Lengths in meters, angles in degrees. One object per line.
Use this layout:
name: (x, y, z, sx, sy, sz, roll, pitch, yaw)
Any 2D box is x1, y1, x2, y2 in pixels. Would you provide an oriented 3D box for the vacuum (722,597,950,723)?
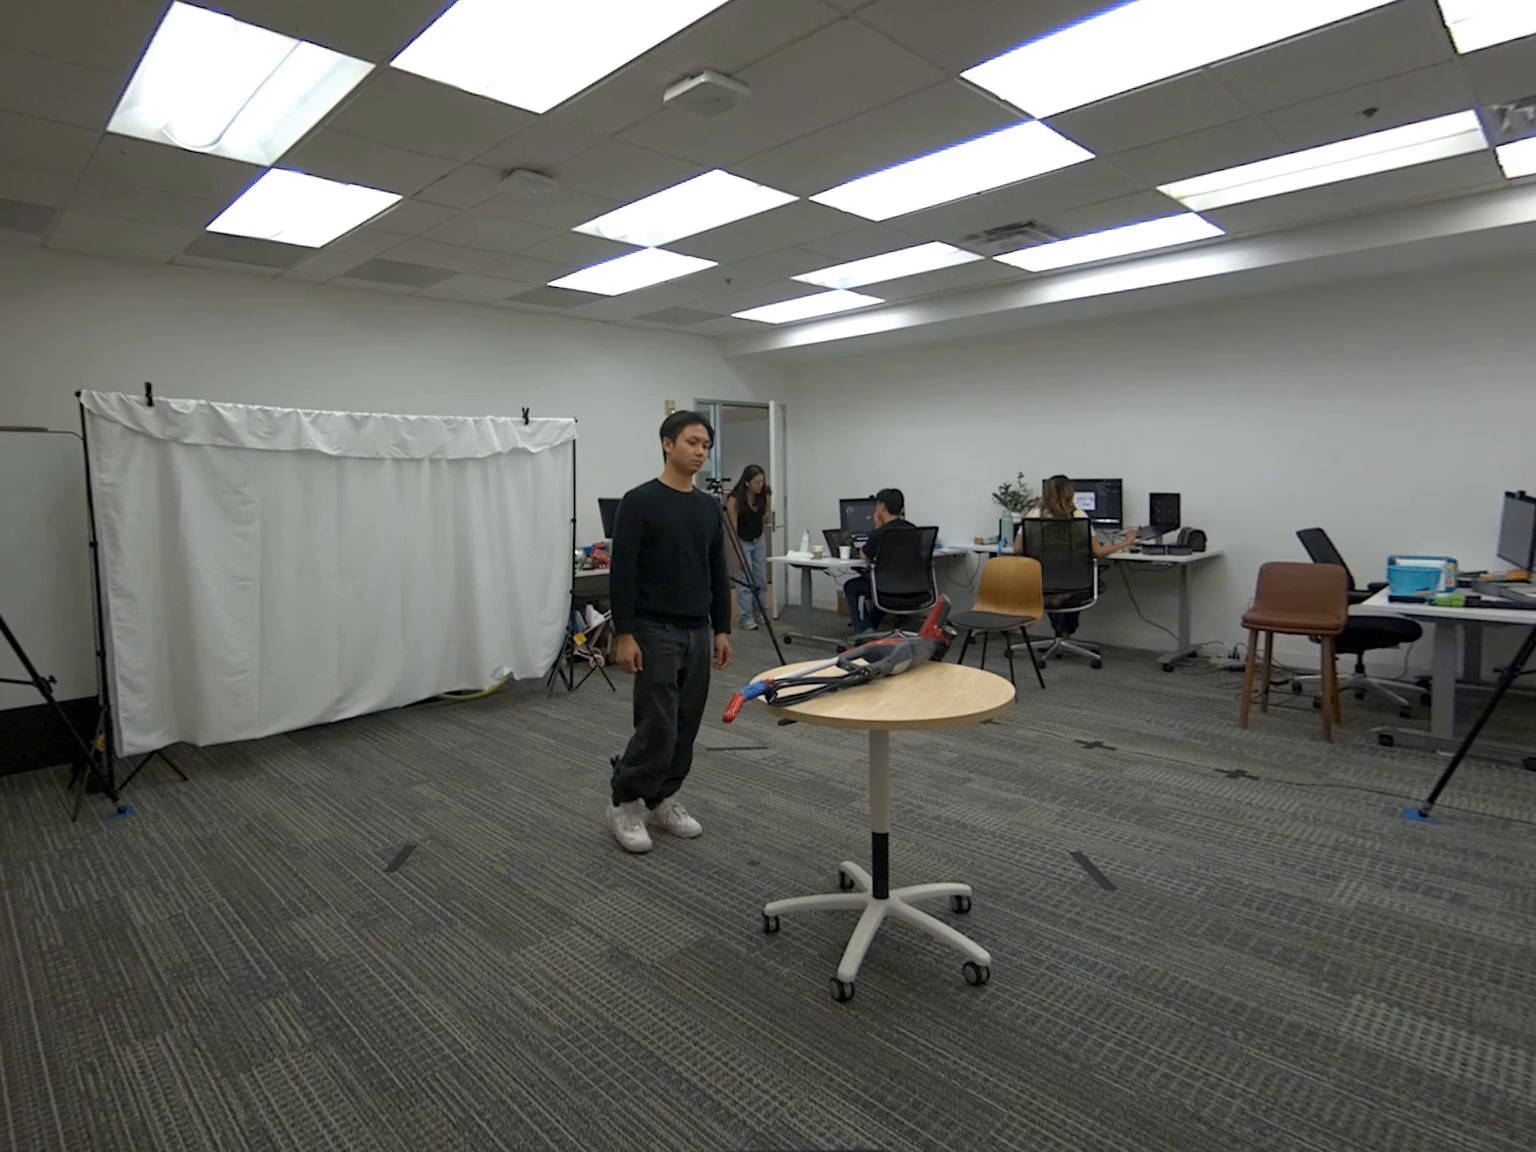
vacuum: (0.243, 0.283, 2.516, 0.149, 0.250, 1.025, 41, 33, 28)
